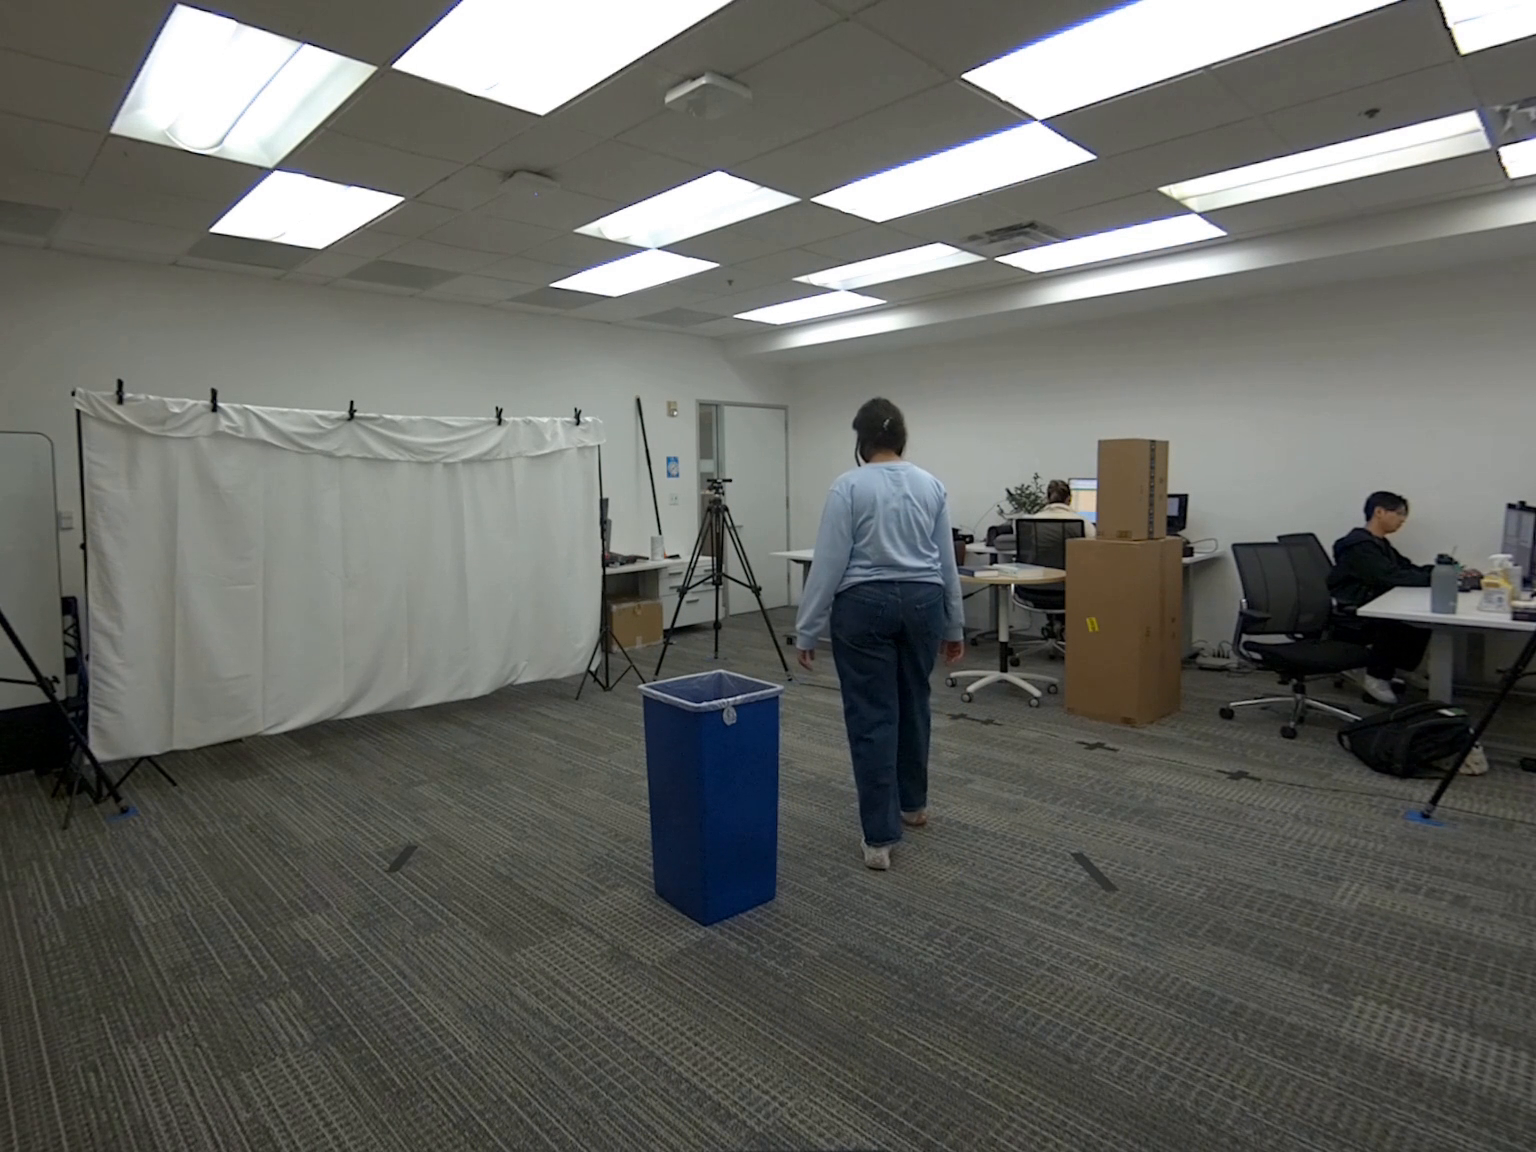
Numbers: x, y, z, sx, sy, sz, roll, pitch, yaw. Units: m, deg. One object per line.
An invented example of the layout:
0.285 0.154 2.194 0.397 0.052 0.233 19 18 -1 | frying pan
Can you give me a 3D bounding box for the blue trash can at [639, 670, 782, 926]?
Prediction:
-0.188 0.719 2.857 0.368 0.711 0.385 -4 5 -39 | blue trash can
